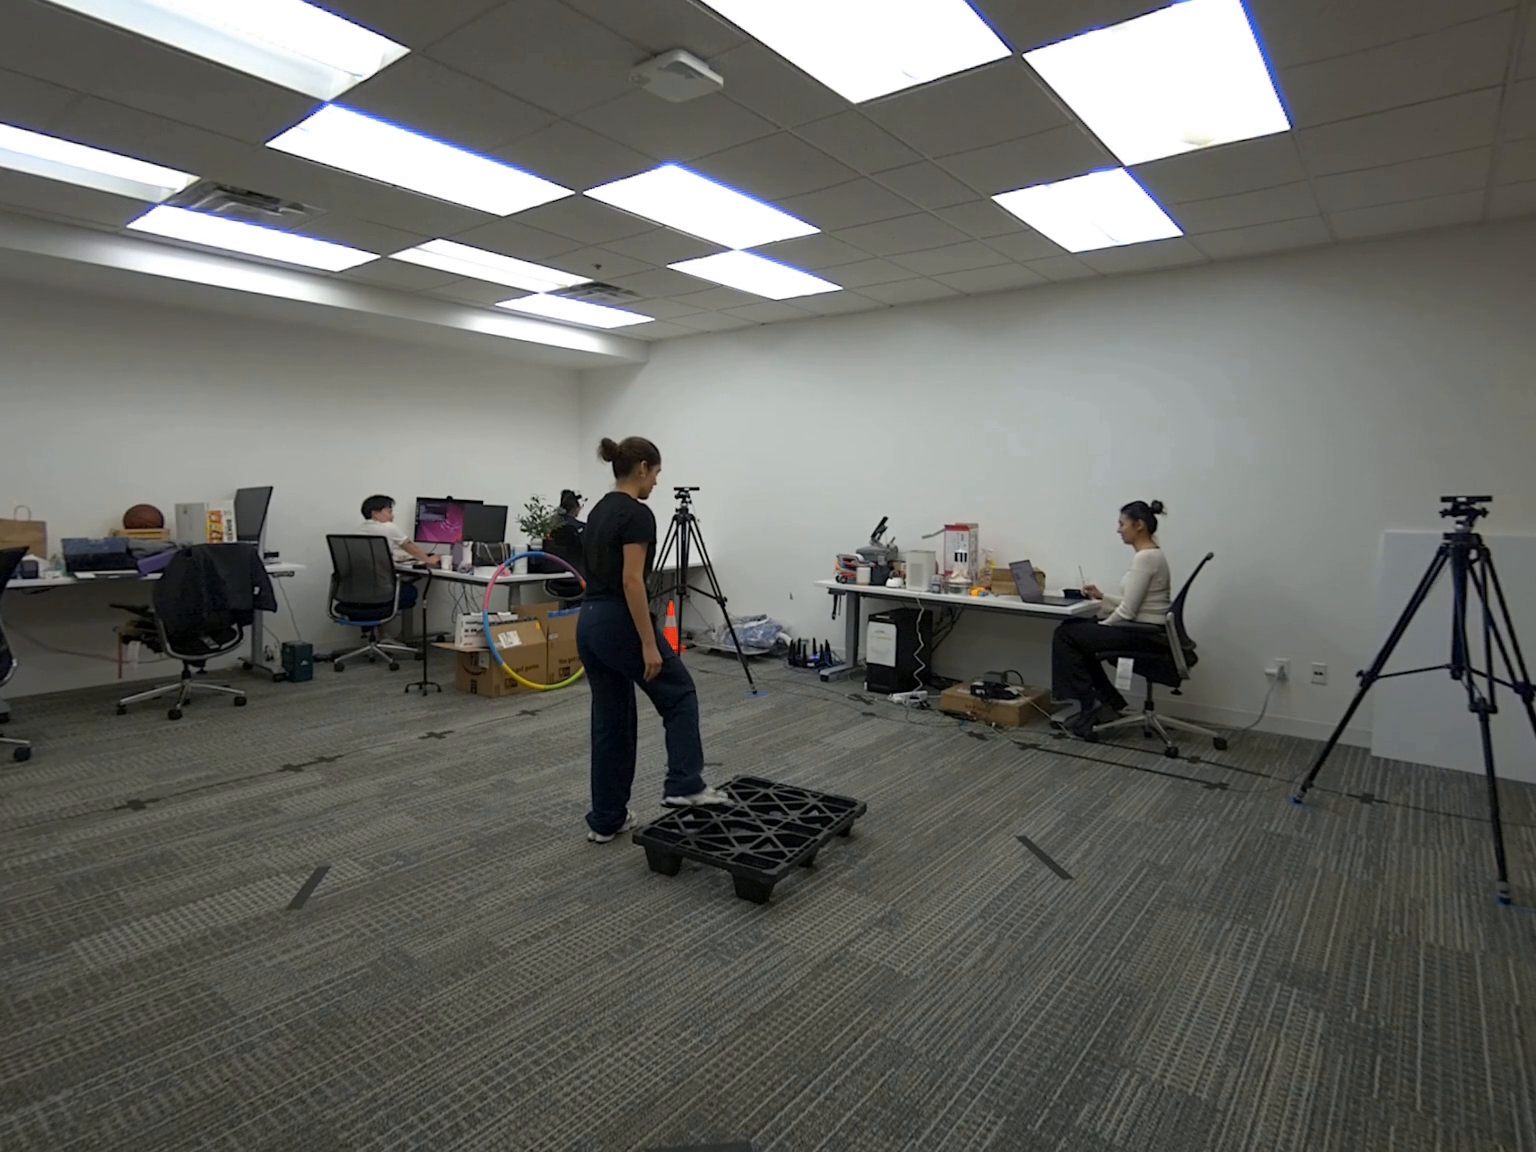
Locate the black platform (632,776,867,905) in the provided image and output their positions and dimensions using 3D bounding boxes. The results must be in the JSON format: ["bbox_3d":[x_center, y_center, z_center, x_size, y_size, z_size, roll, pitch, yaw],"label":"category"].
[{"bbox_3d":[-0.038,0.986,3.273,0.623,0.143,0.784,4,6,31],"label":"black platform"}]
